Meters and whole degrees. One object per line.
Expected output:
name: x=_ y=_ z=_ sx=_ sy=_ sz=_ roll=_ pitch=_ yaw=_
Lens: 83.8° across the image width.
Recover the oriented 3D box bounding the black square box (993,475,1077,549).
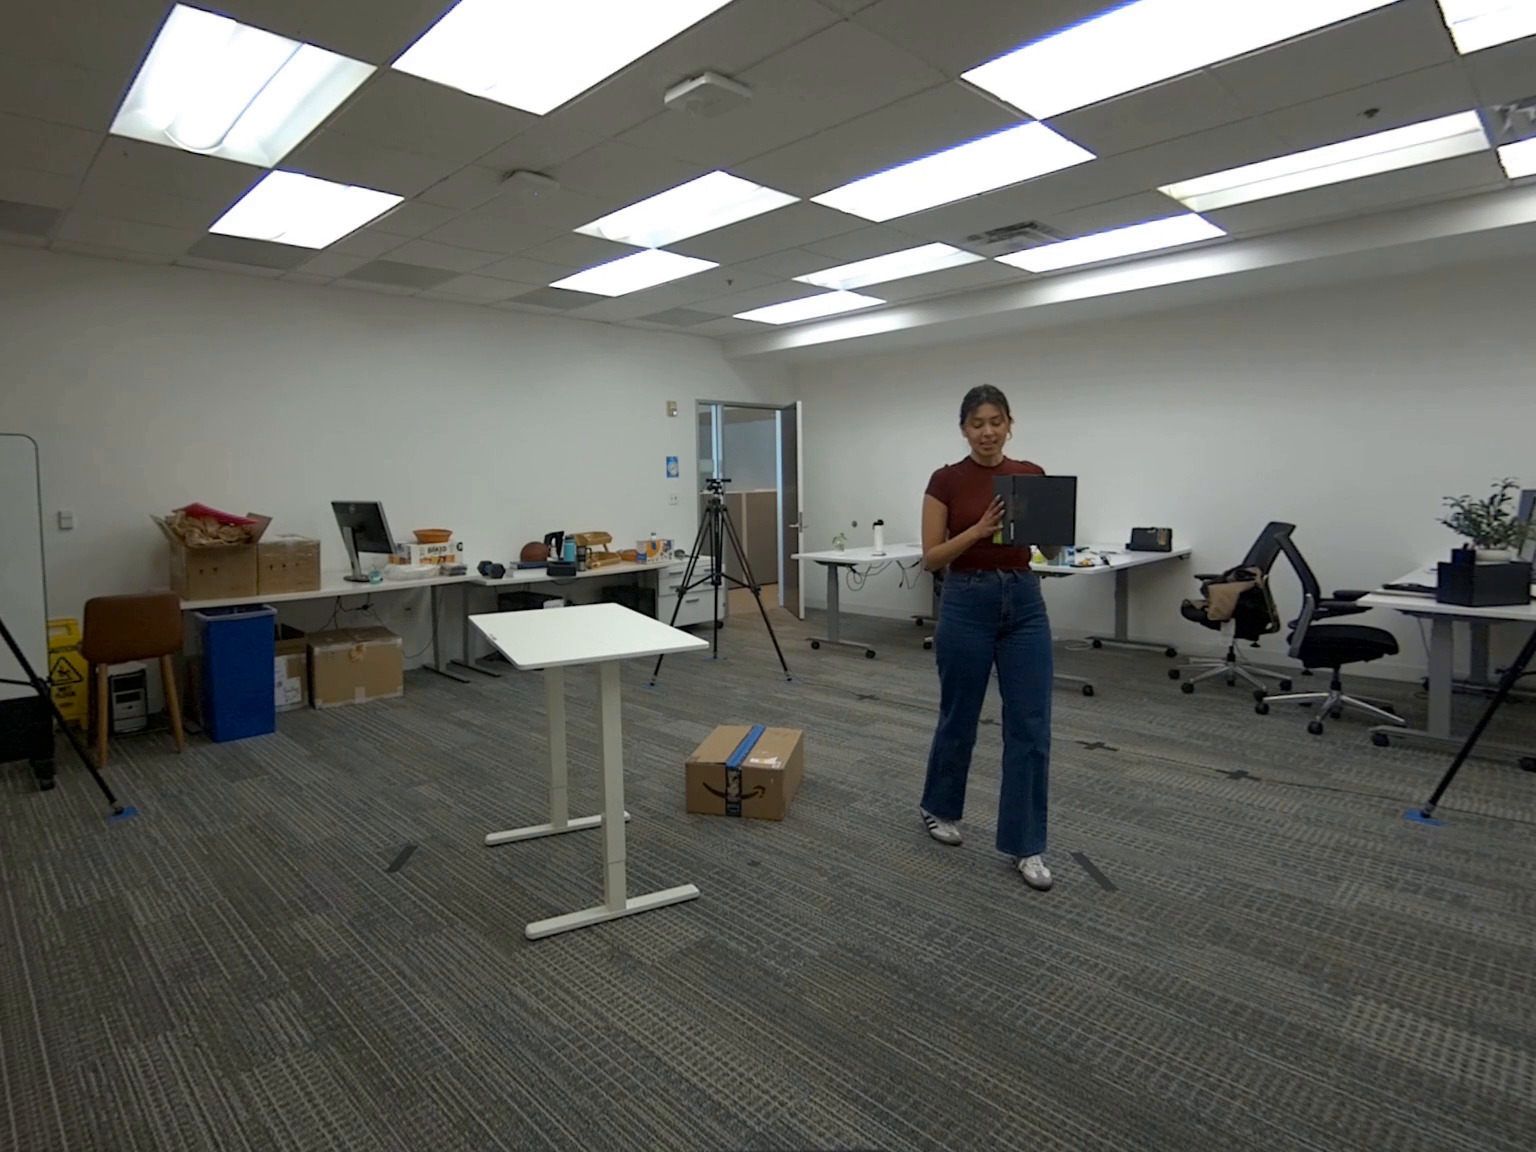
black square box: x=0.873 y=-0.214 z=2.783 sx=0.215 sy=0.227 sz=0.157 roll=0 pitch=3 yaw=-7
